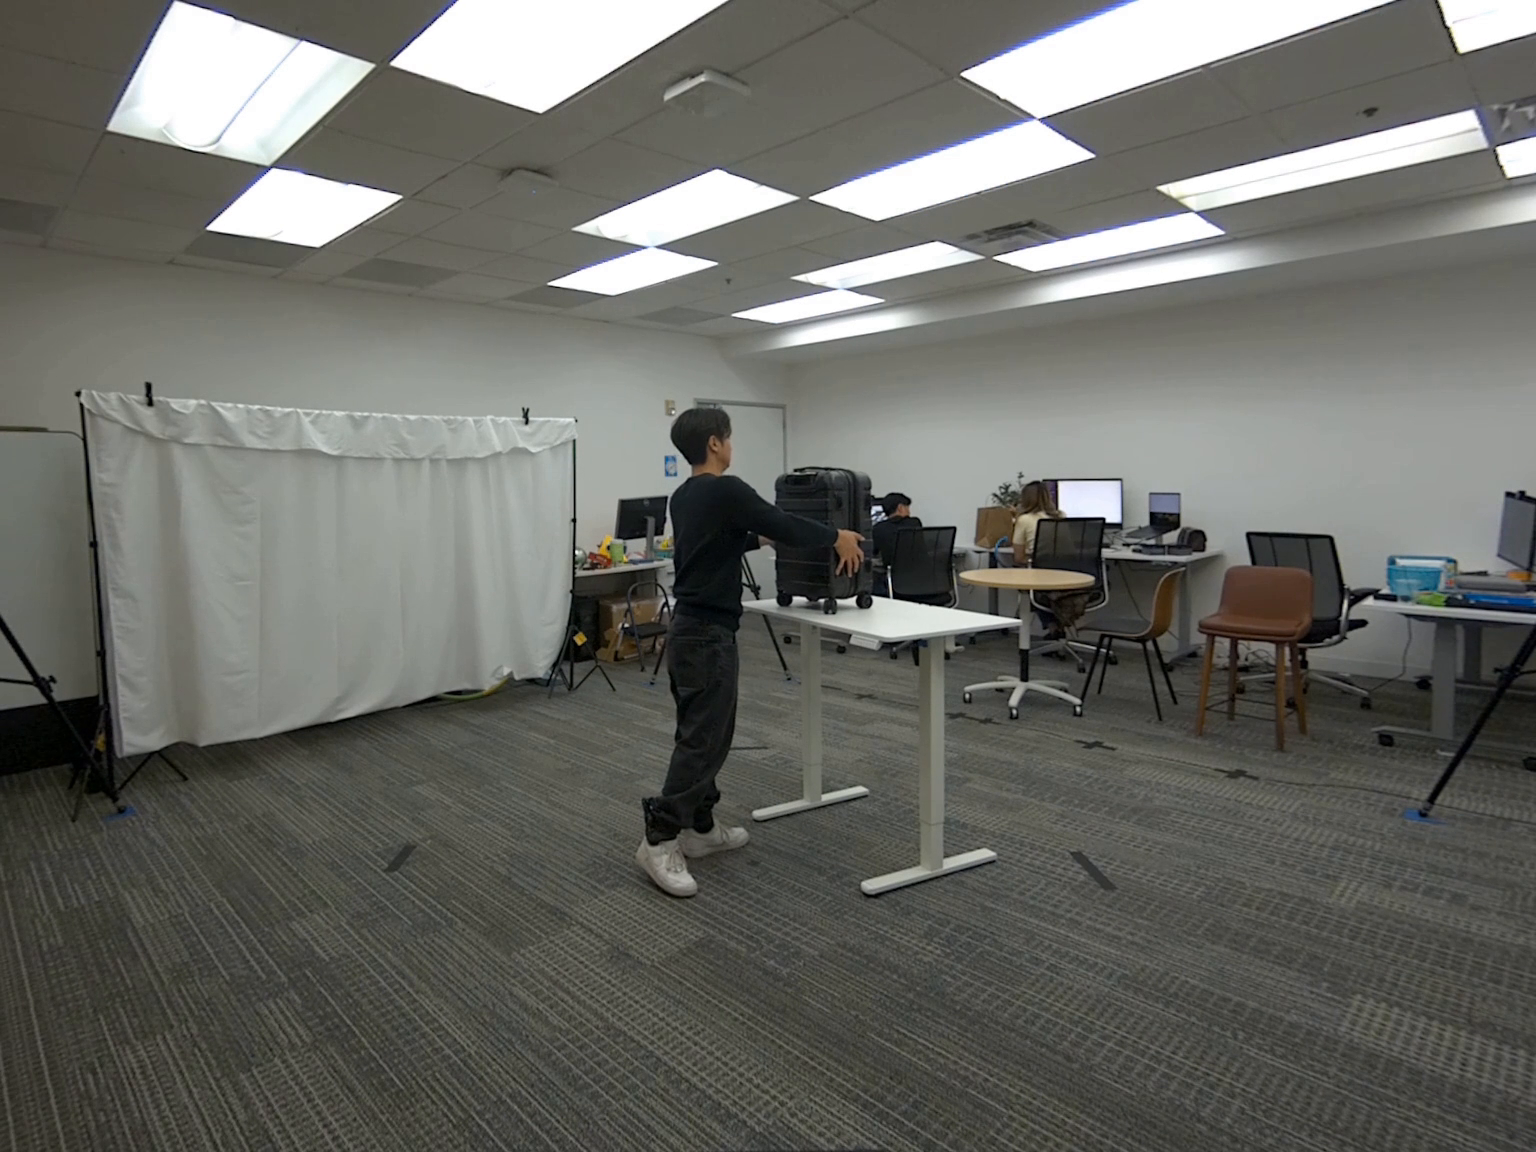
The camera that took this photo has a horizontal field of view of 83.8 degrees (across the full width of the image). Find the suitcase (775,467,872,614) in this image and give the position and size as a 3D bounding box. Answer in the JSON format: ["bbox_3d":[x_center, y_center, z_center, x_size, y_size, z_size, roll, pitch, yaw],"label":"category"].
[{"bbox_3d":[0.211,-0.155,3.382,0.241,0.549,0.386,-2,2,-38],"label":"suitcase"}]
